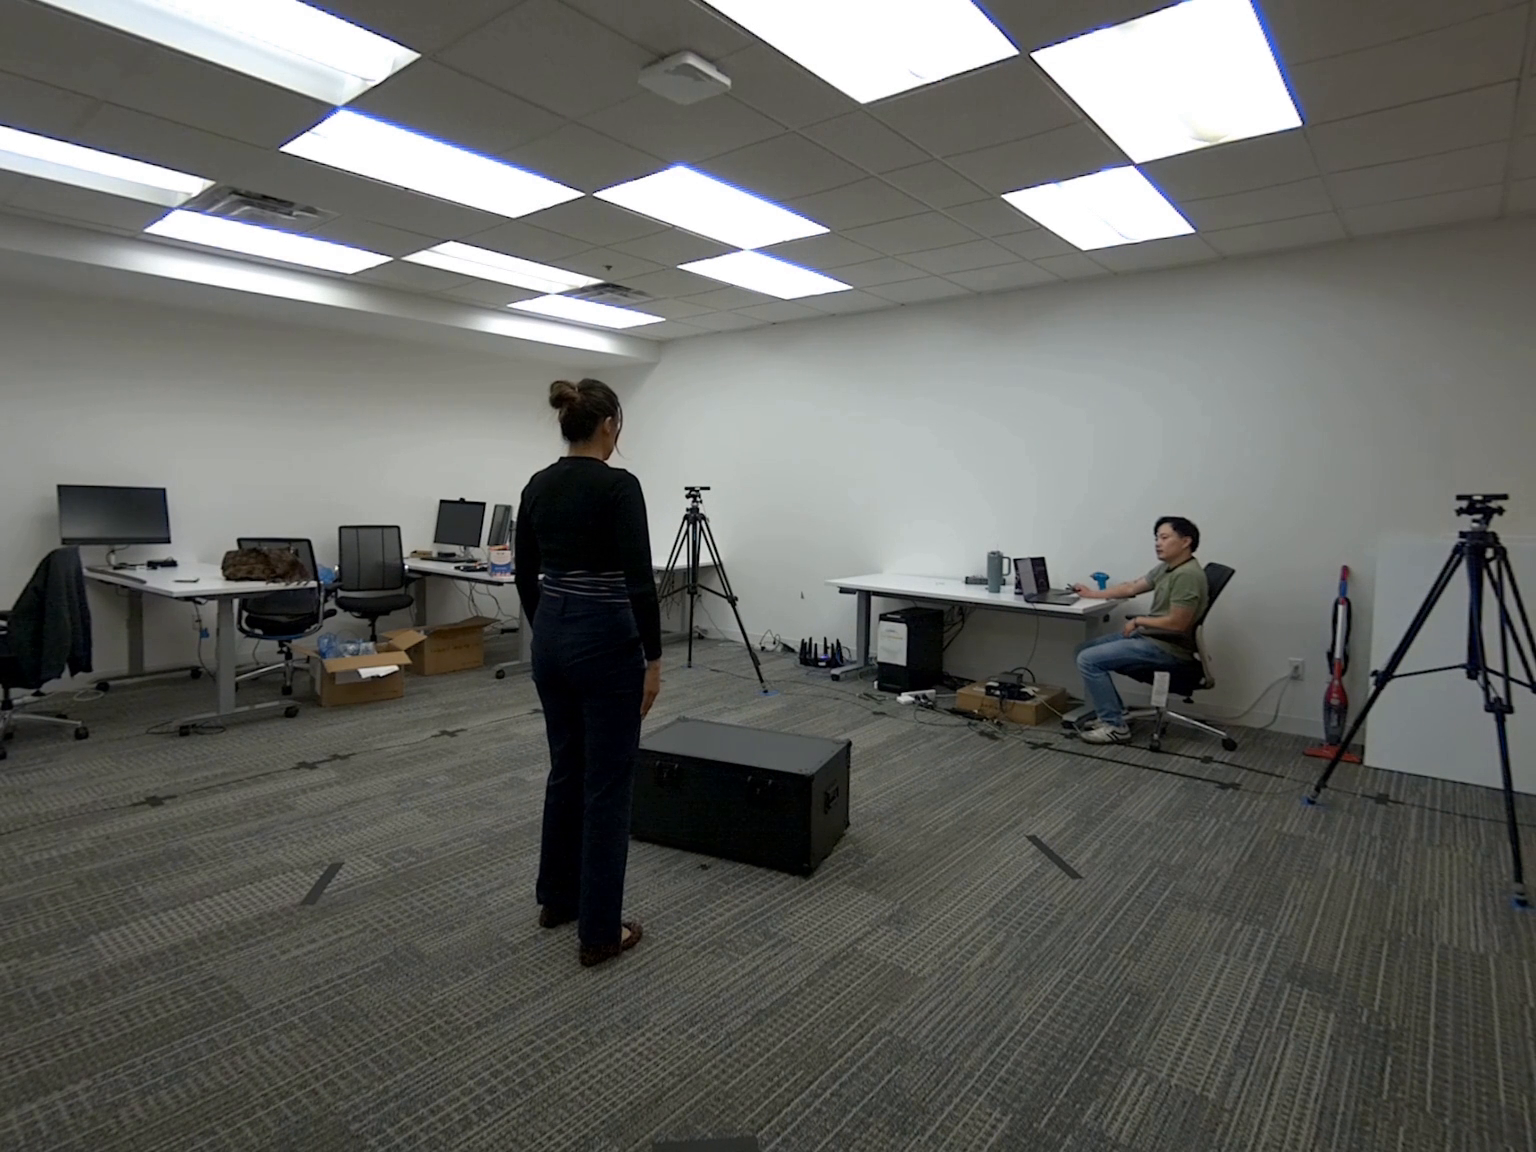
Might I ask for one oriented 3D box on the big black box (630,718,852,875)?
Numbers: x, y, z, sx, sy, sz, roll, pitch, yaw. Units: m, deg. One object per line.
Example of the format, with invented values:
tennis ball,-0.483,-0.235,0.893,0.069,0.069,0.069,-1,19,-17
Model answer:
big black box,-0.154,0.845,3.411,0.883,0.395,0.510,3,6,24
